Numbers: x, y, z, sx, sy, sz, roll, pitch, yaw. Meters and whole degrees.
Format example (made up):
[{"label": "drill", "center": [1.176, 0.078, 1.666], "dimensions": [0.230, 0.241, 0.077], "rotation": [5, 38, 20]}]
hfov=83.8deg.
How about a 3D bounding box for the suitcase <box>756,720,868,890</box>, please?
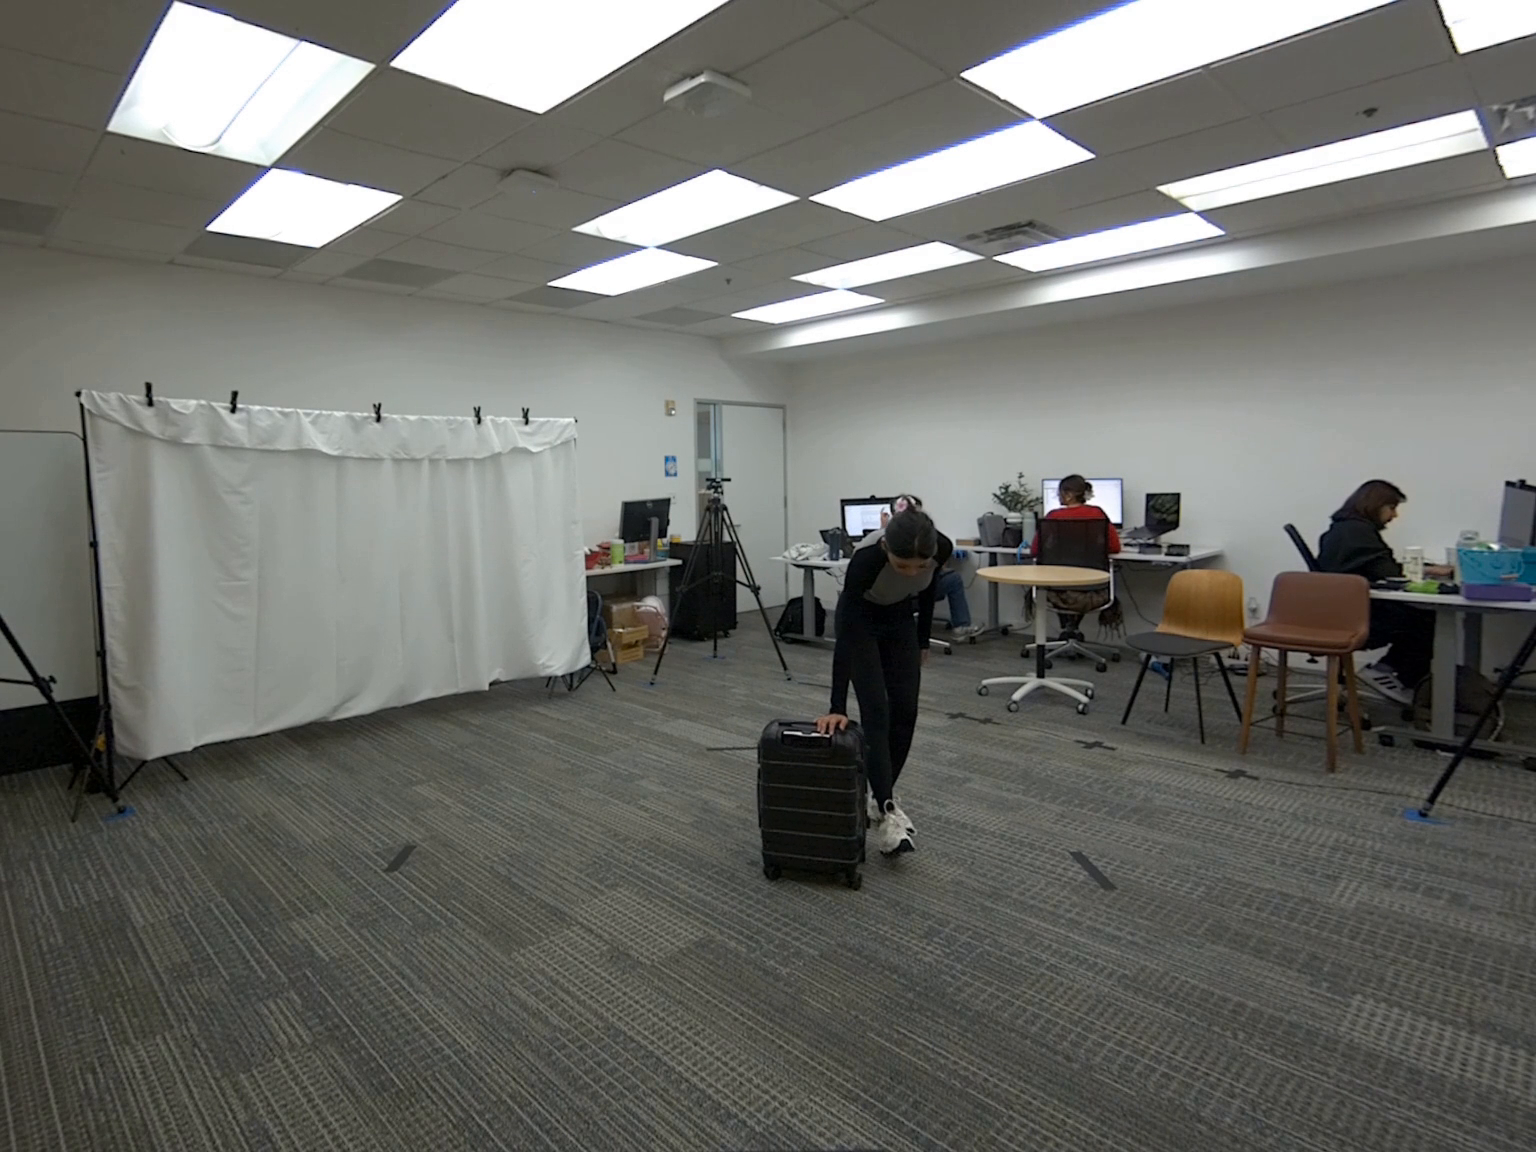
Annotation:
[{"label": "suitcase", "center": [0.160, 0.773, 3.015], "dimensions": [0.381, 0.547, 0.246], "rotation": [0, 5, 15]}]
